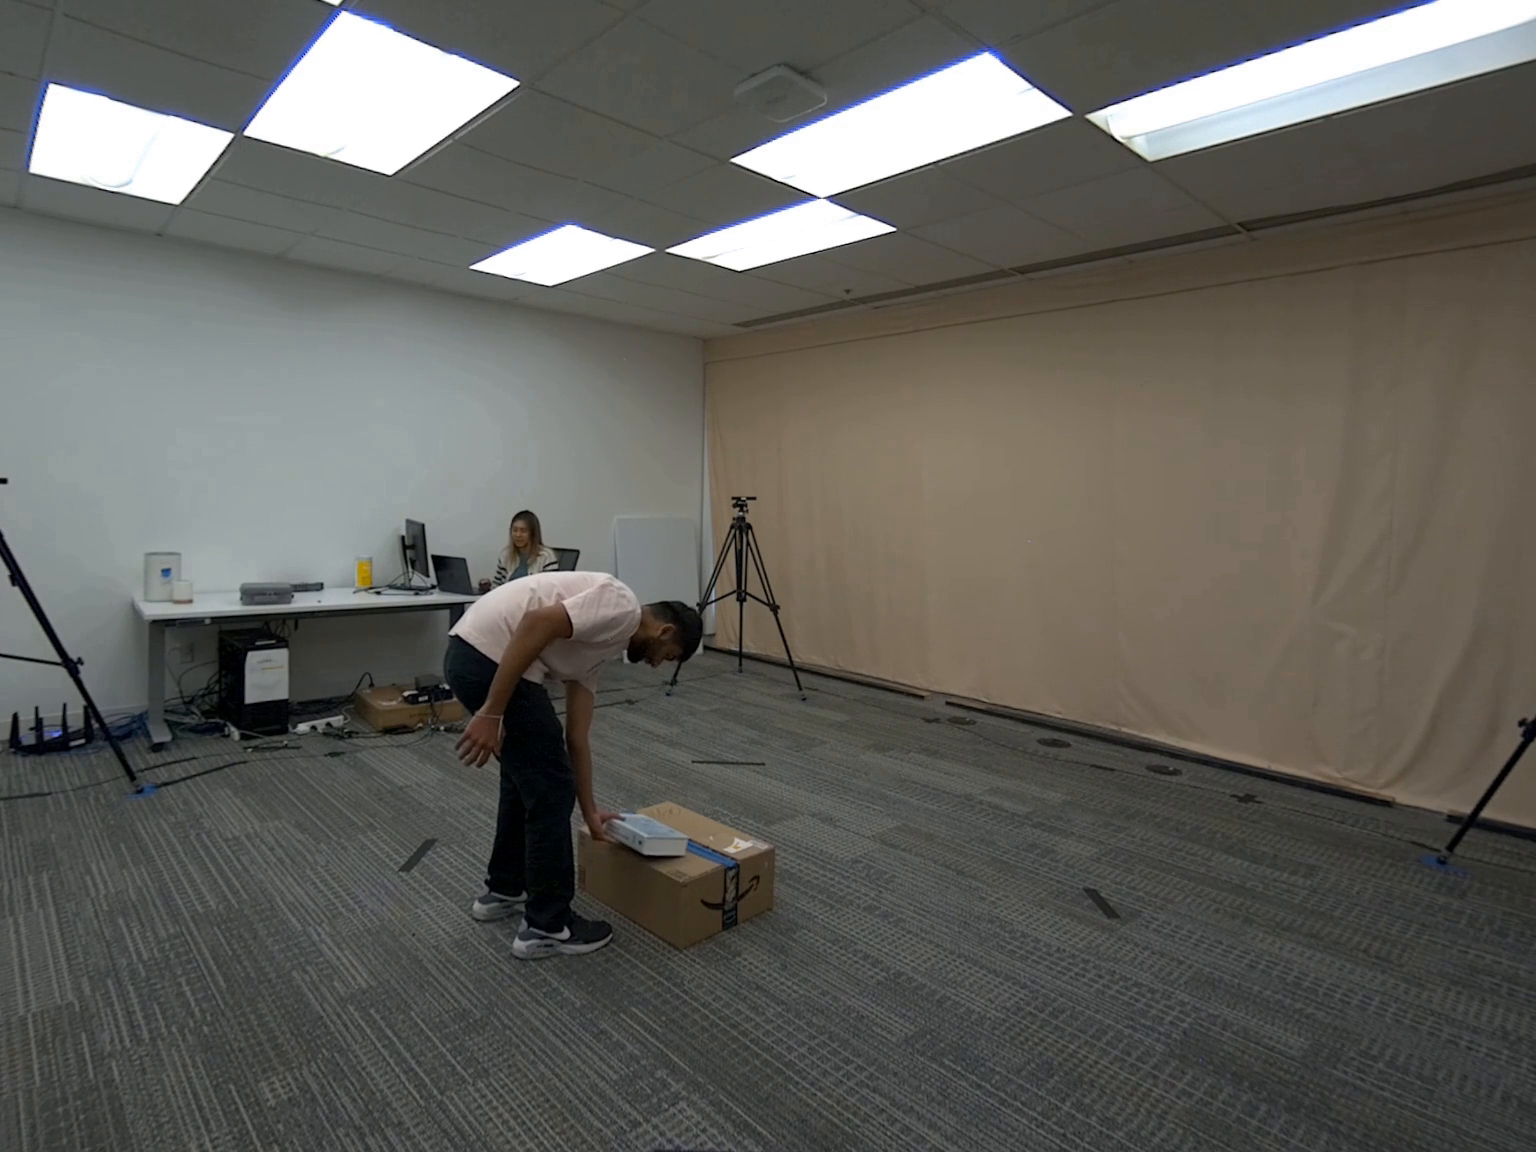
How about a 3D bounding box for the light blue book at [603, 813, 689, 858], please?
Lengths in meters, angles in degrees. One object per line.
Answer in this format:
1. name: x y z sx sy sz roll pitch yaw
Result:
1. light blue book: -0.420 0.857 2.814 0.186 0.059 0.268 17 -7 -43
